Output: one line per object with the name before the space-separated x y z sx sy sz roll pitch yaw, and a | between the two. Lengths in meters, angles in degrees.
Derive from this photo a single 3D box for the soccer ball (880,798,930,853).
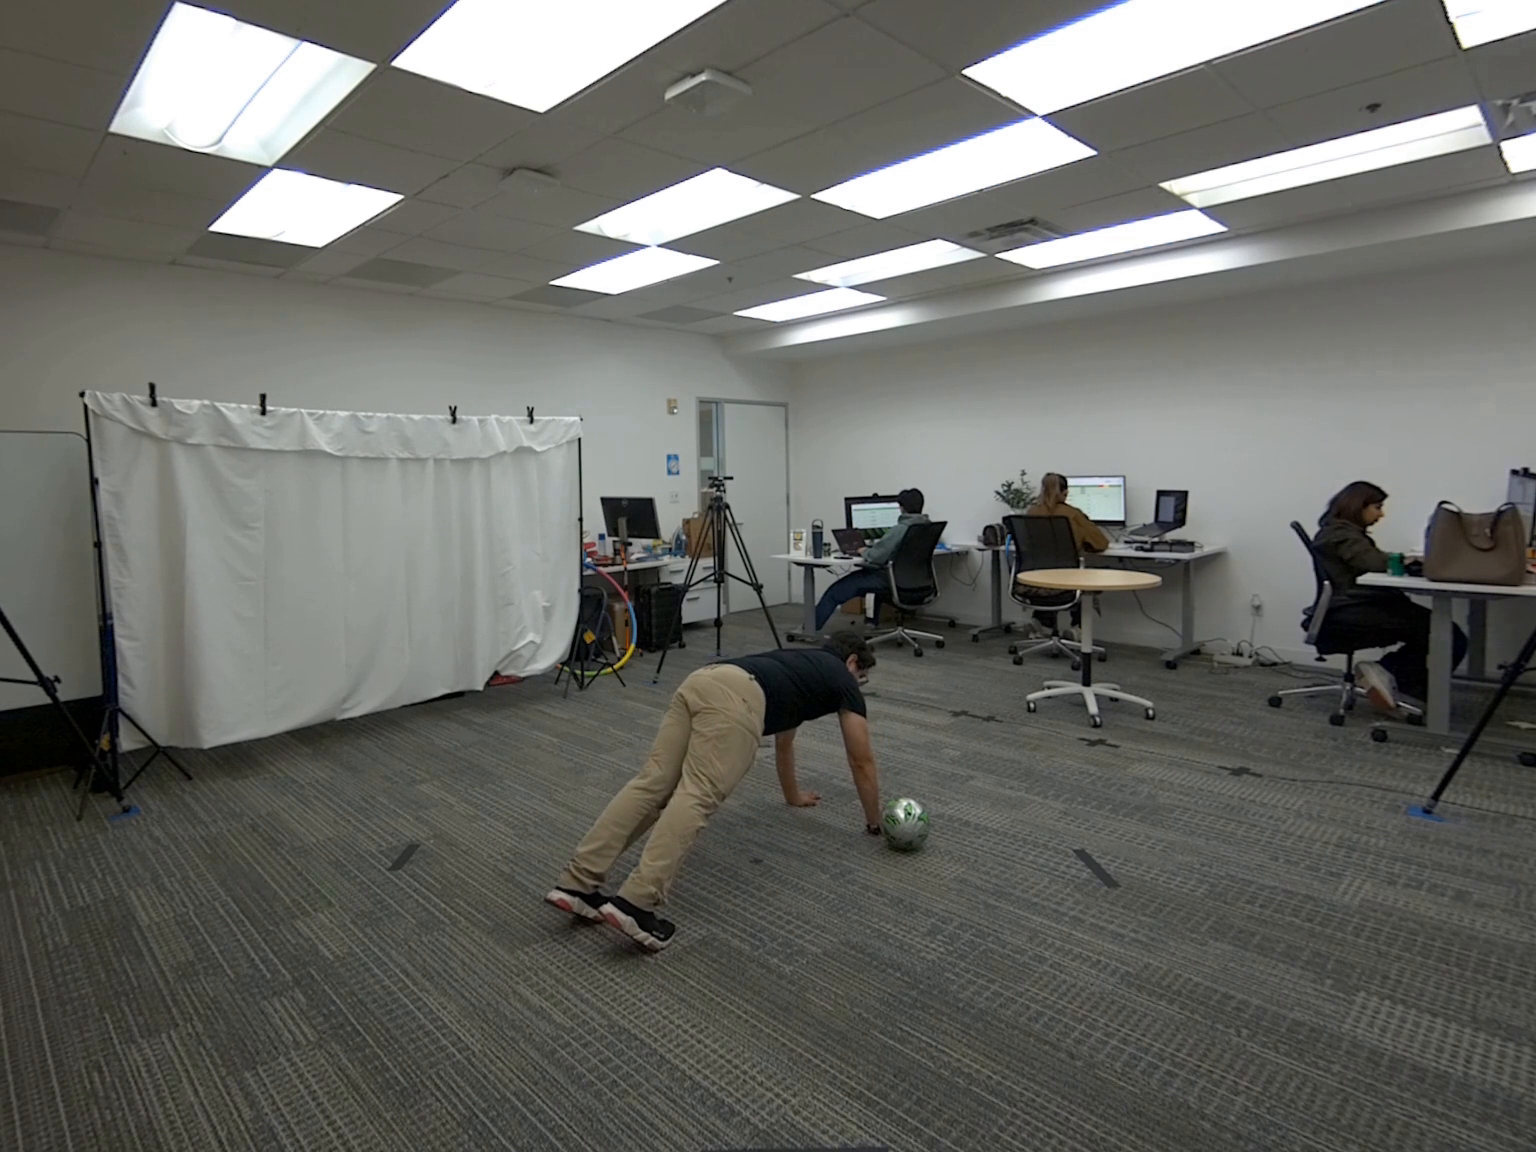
soccer ball | 0.522 0.929 3.190 0.187 0.187 0.188 -1 5 -2
